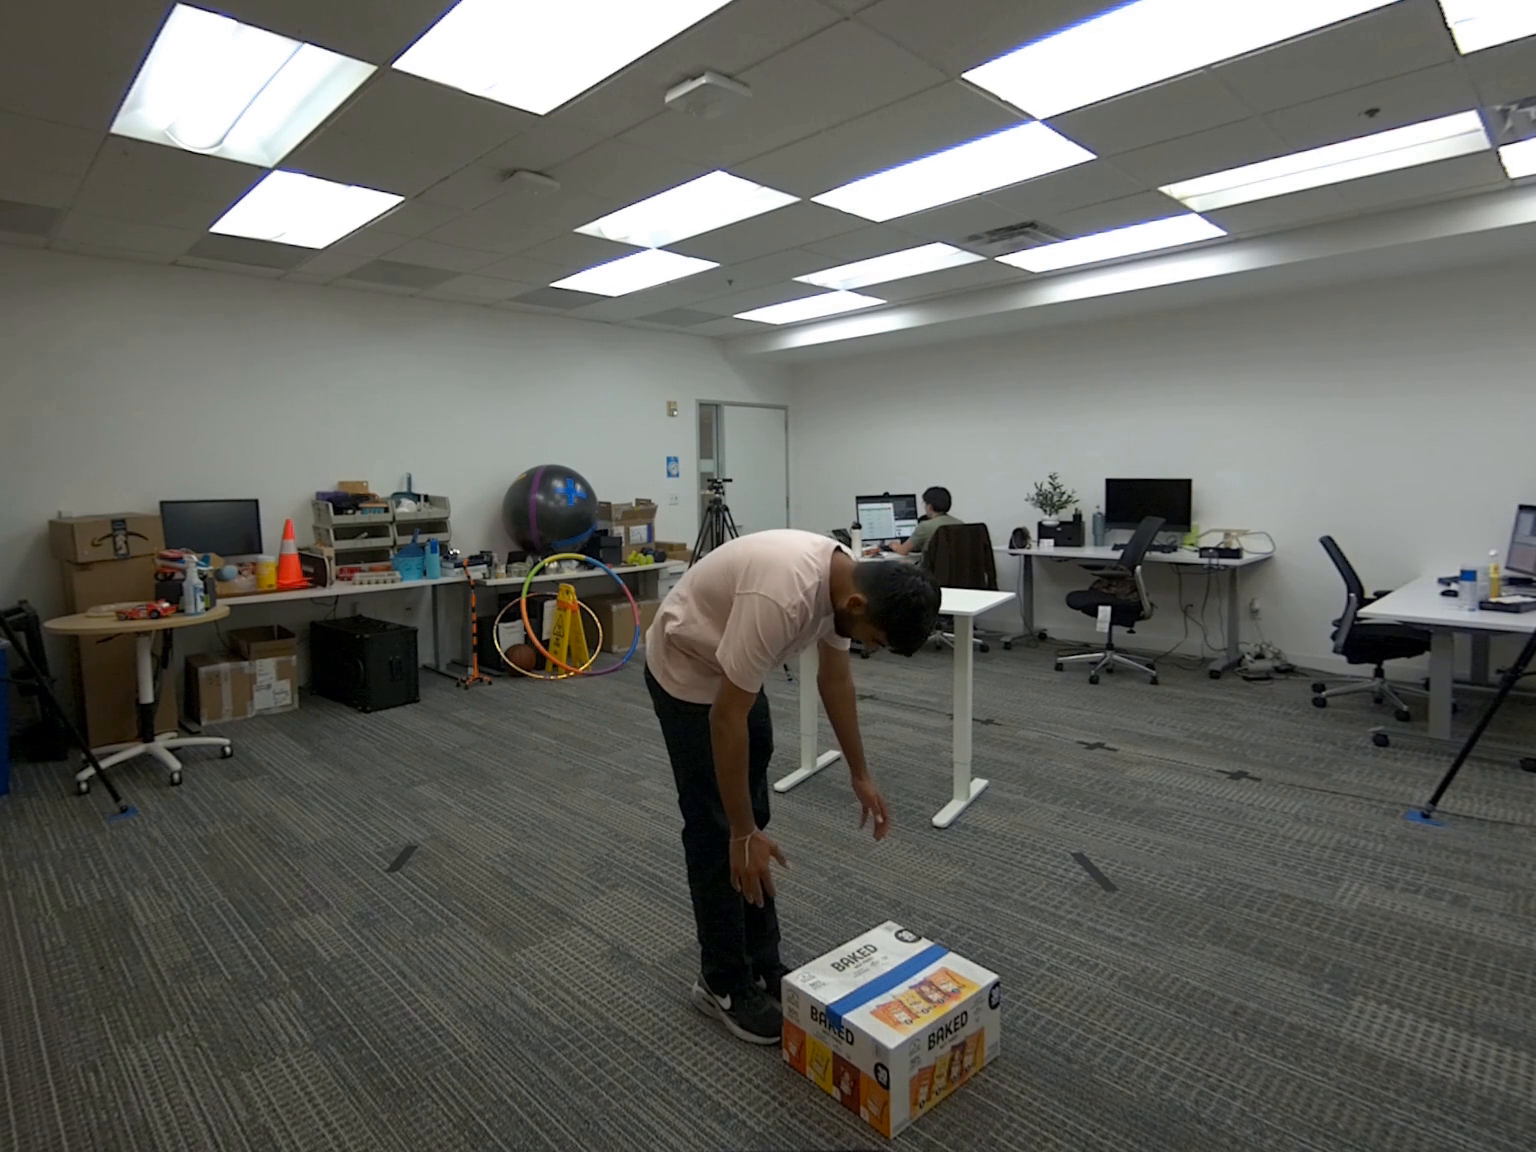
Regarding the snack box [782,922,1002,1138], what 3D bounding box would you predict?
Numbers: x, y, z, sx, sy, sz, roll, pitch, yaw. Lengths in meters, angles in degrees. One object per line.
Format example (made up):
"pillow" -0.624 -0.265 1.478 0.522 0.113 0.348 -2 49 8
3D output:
"snack box" 0.302 1.063 2.046 0.395 0.205 0.351 -6 8 -40
